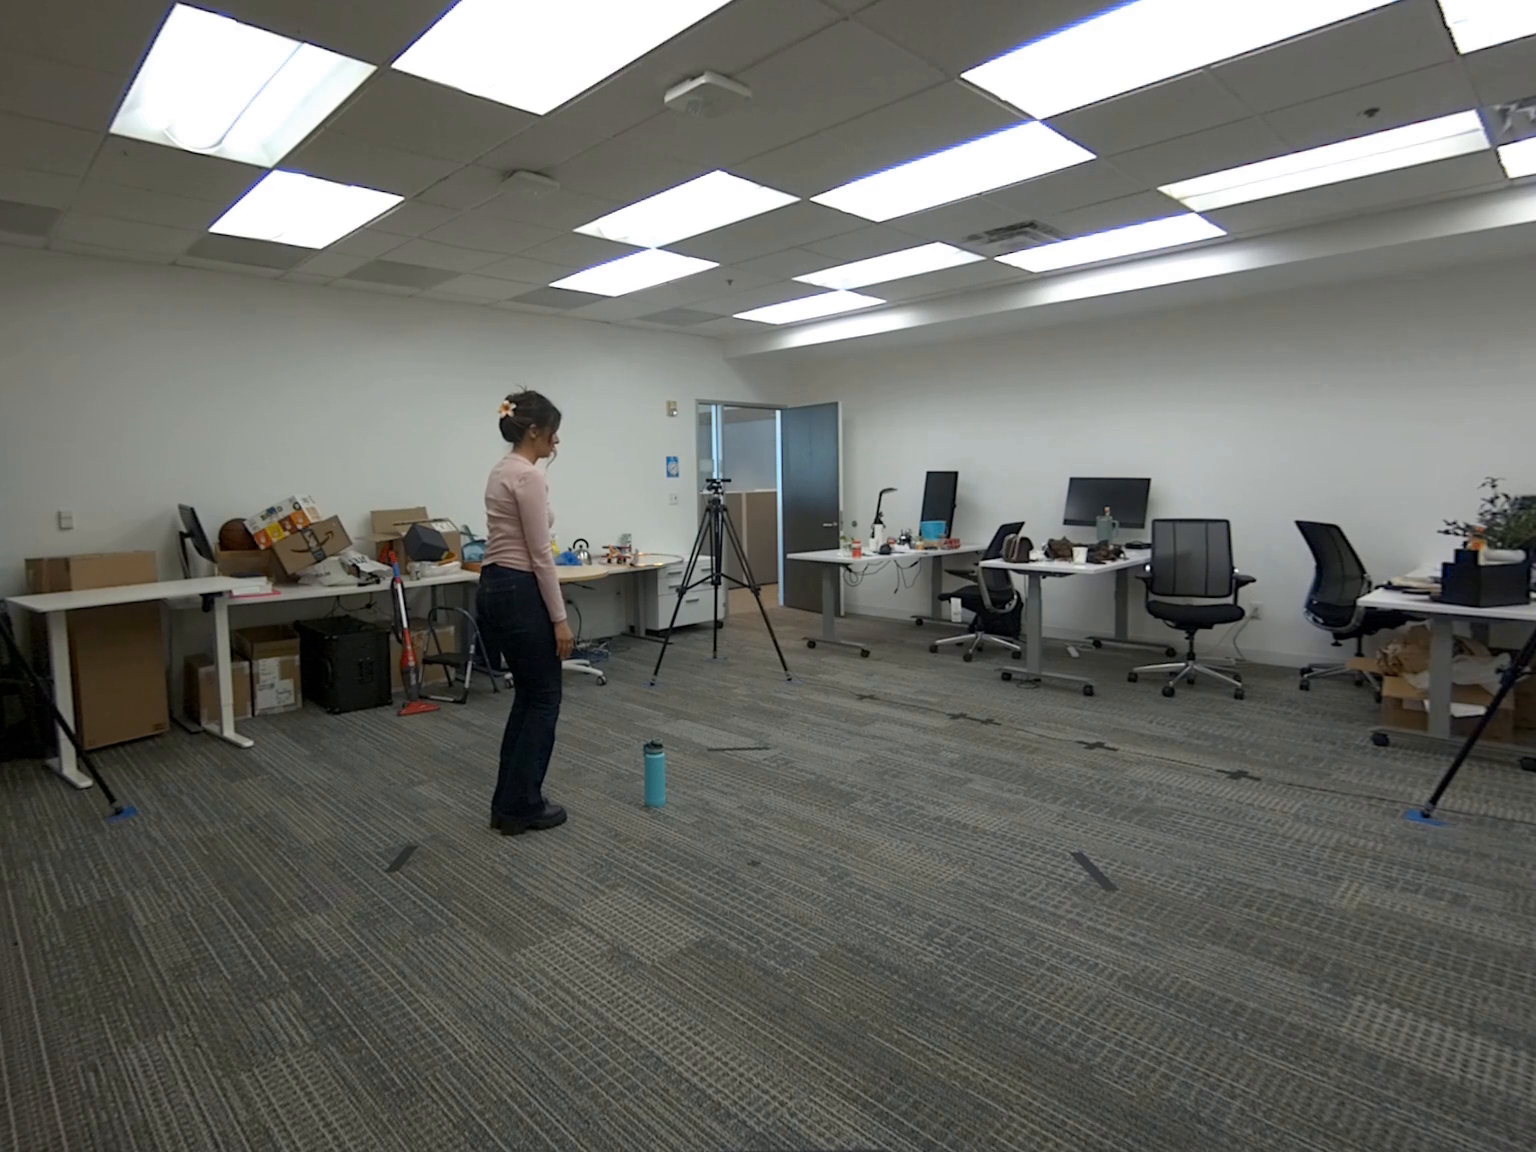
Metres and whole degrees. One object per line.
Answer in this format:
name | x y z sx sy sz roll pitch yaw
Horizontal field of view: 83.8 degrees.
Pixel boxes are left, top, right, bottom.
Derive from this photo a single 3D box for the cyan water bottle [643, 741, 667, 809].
cyan water bottle | -0.490 0.841 3.690 0.092 0.282 0.093 0 4 -2
